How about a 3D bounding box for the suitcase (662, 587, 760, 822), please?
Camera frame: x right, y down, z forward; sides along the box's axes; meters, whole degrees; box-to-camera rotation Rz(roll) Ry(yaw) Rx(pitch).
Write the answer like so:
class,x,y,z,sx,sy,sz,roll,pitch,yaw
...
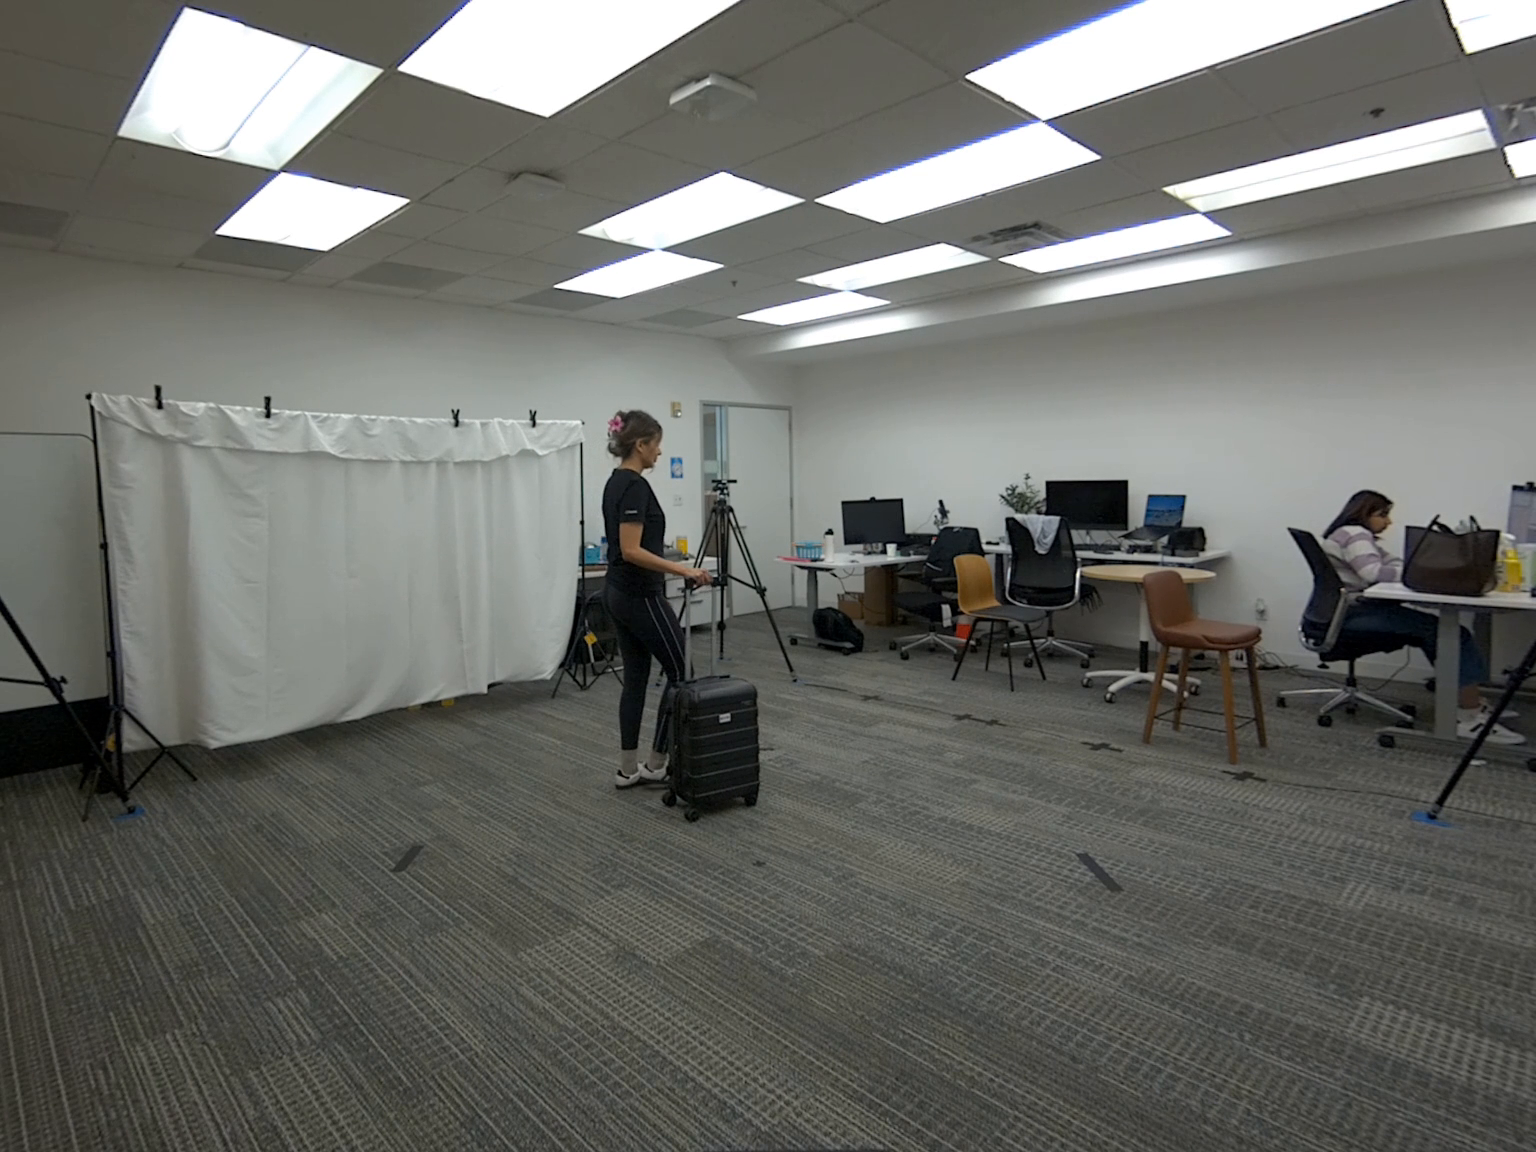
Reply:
class,x,y,z,sx,sy,sz,roll,pitch,yaw
suitcase,-0.231,0.511,3.659,0.375,0.975,0.264,-1,4,-28
